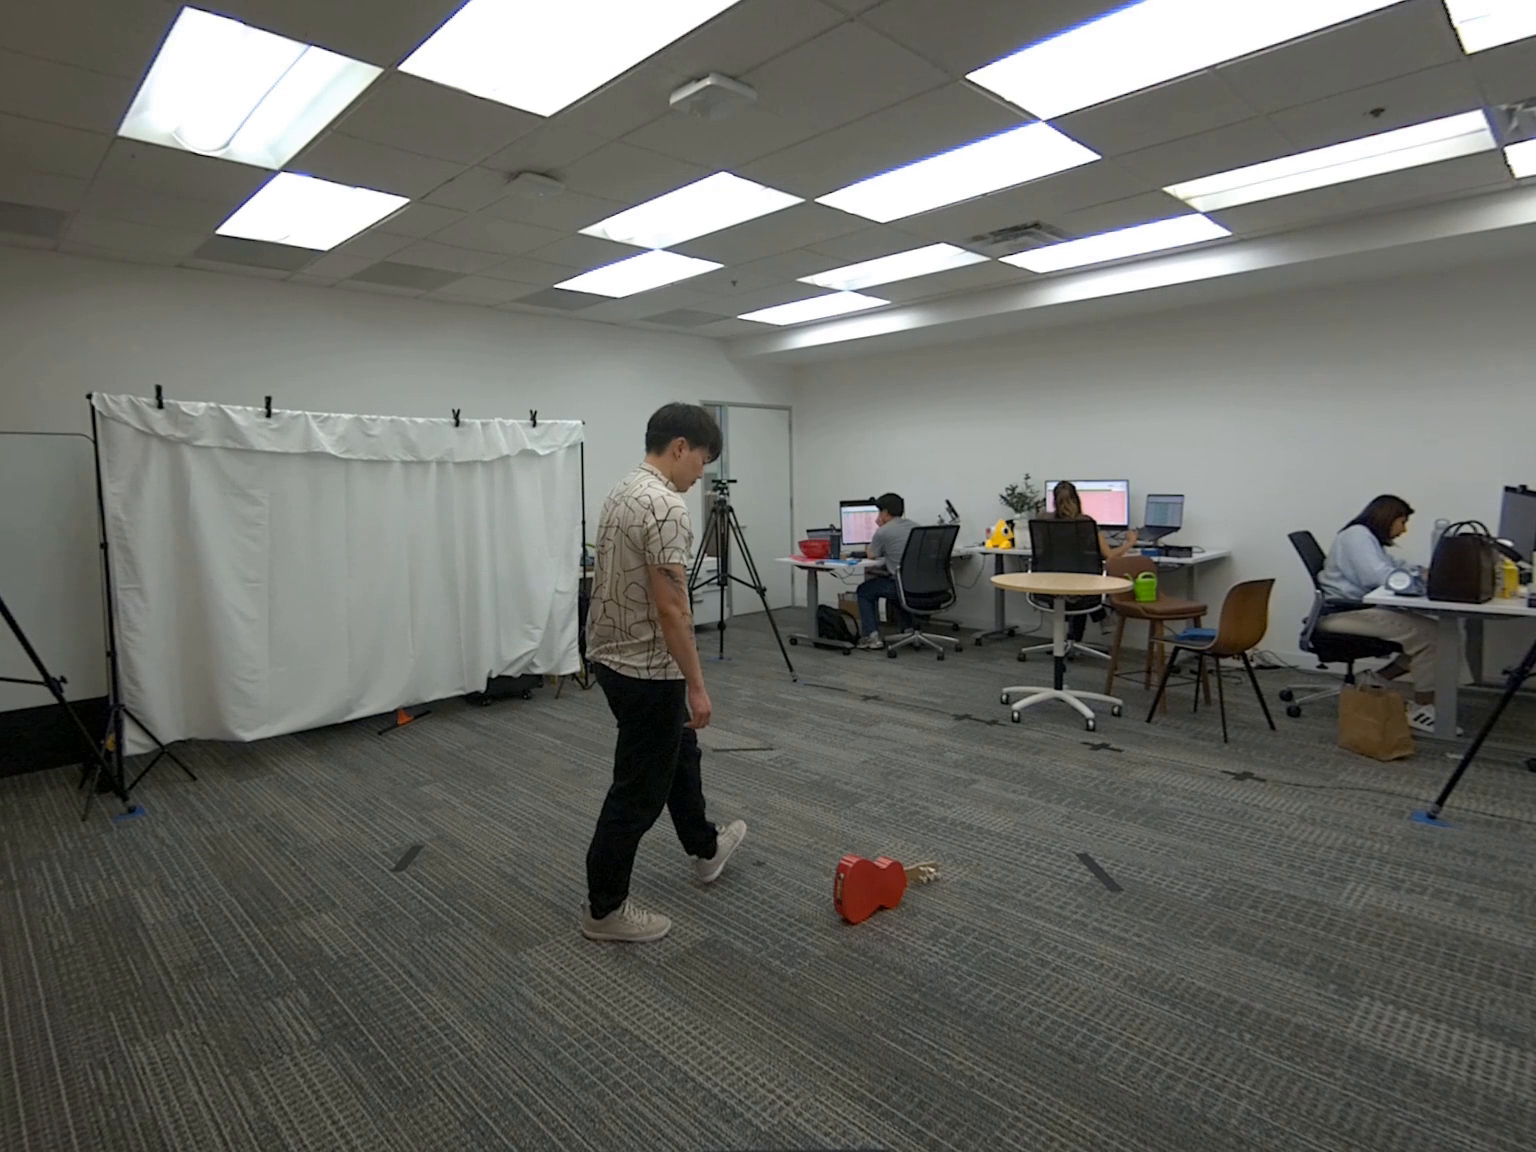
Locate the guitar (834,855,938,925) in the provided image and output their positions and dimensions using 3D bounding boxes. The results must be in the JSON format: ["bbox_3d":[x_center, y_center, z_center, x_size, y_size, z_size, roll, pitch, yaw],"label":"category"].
[{"bbox_3d":[0.412,0.974,2.818,0.485,0.193,0.072,-5,2,-37],"label":"guitar"}]
